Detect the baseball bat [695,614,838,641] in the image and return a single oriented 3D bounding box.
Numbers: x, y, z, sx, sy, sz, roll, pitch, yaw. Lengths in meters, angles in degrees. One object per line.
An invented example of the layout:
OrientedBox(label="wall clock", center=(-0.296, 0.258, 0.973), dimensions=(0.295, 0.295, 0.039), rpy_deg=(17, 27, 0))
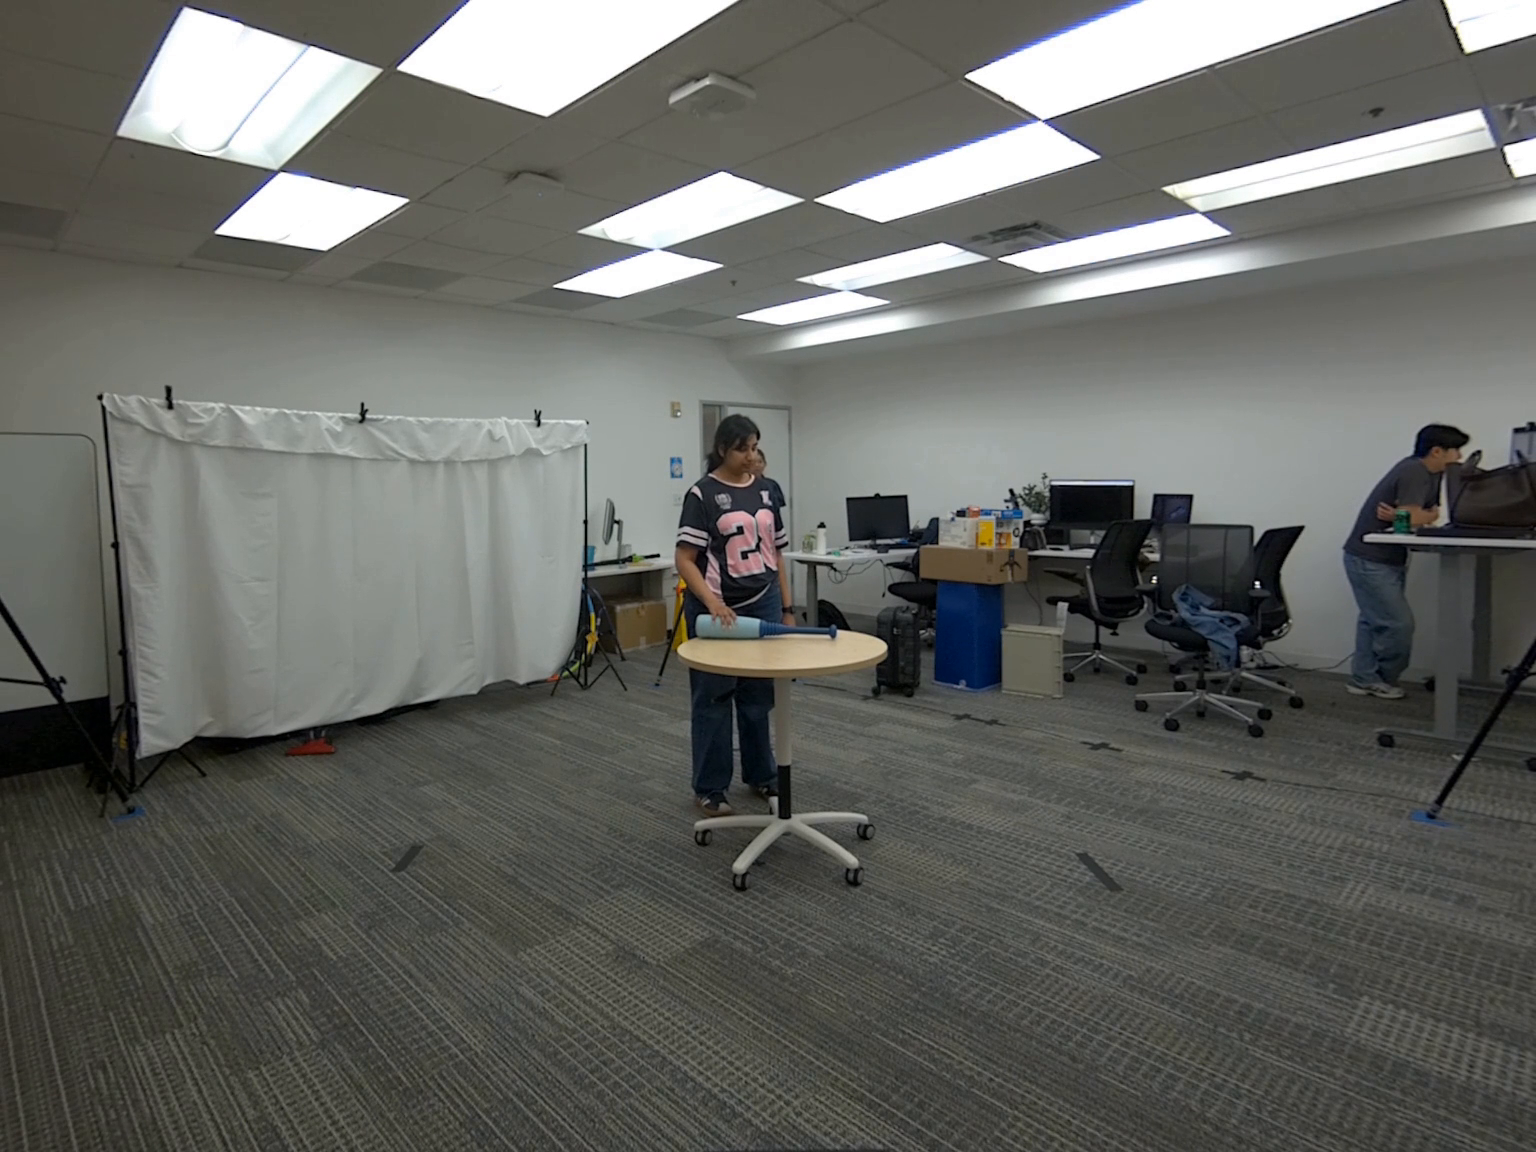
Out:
OrientedBox(label="baseball bat", center=(-0.016, 0.208, 3.293), dimensions=(0.546, 0.089, 0.089), rpy_deg=(2, 5, 6))
